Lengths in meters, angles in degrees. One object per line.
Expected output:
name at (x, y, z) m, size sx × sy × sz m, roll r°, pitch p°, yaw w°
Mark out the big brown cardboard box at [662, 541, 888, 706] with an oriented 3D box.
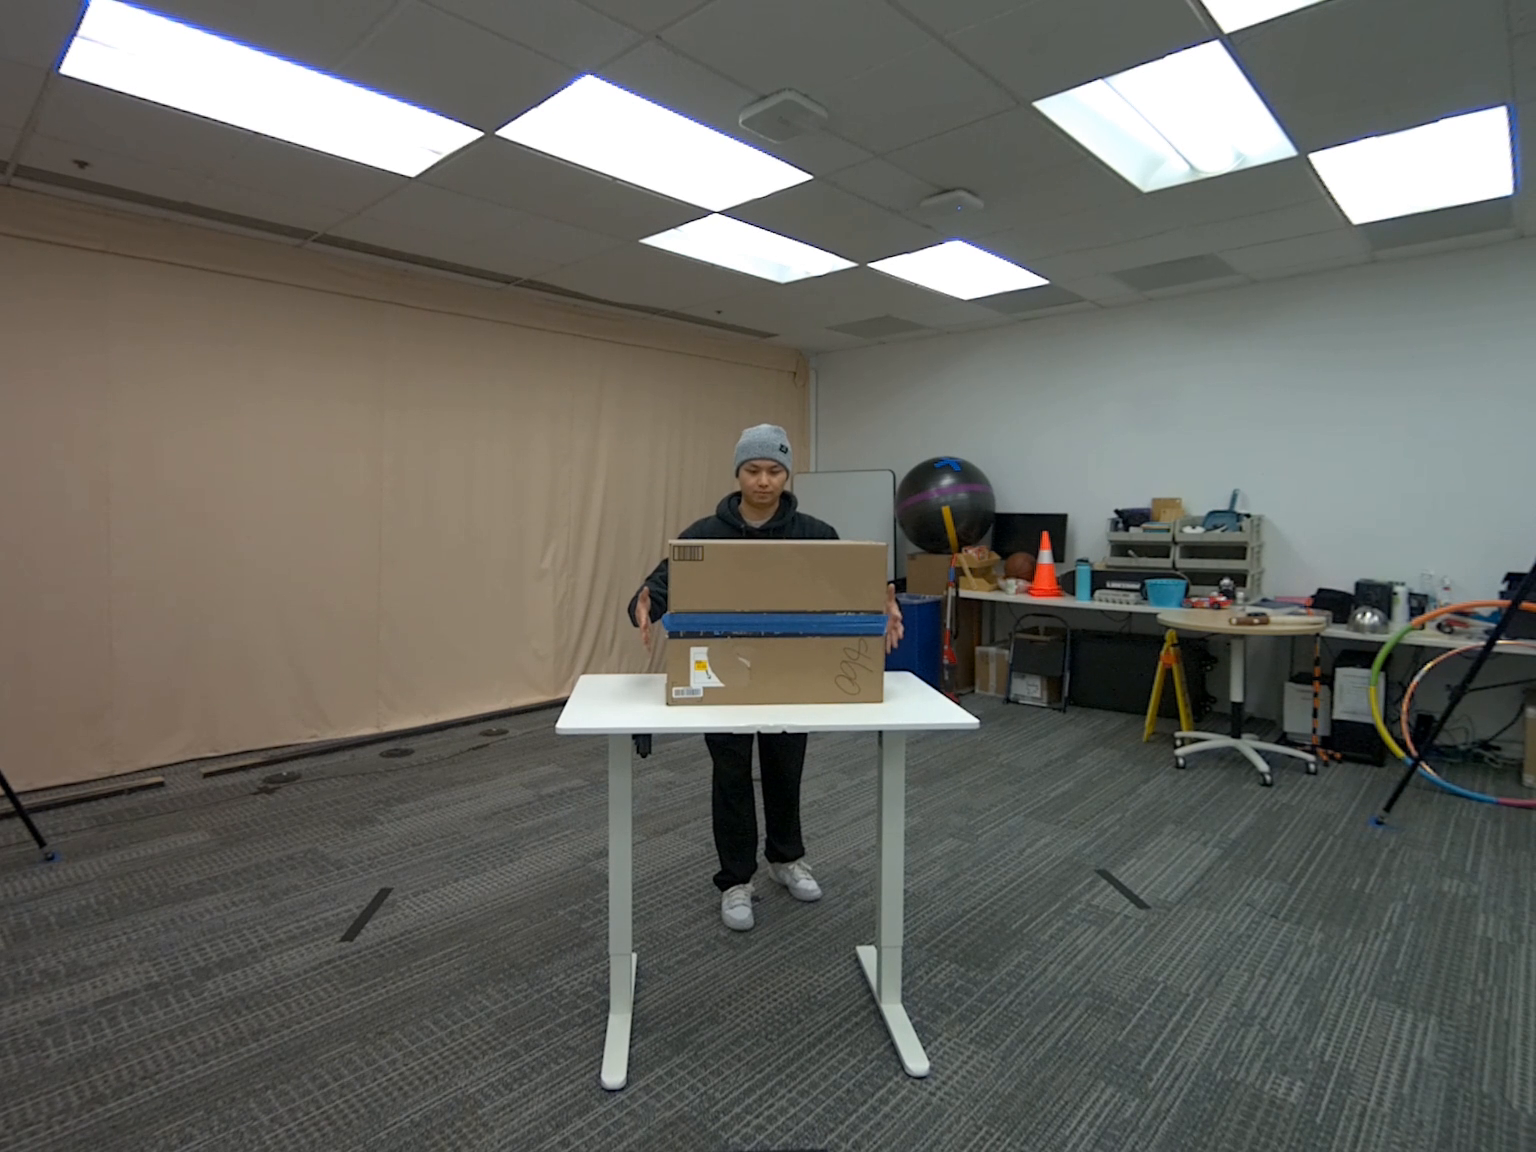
big brown cardboard box at (0.009, 0.114, 2.261) m, size 0.586 × 0.416 × 0.235 m, roll 0°, pitch 4°, yaw -5°
